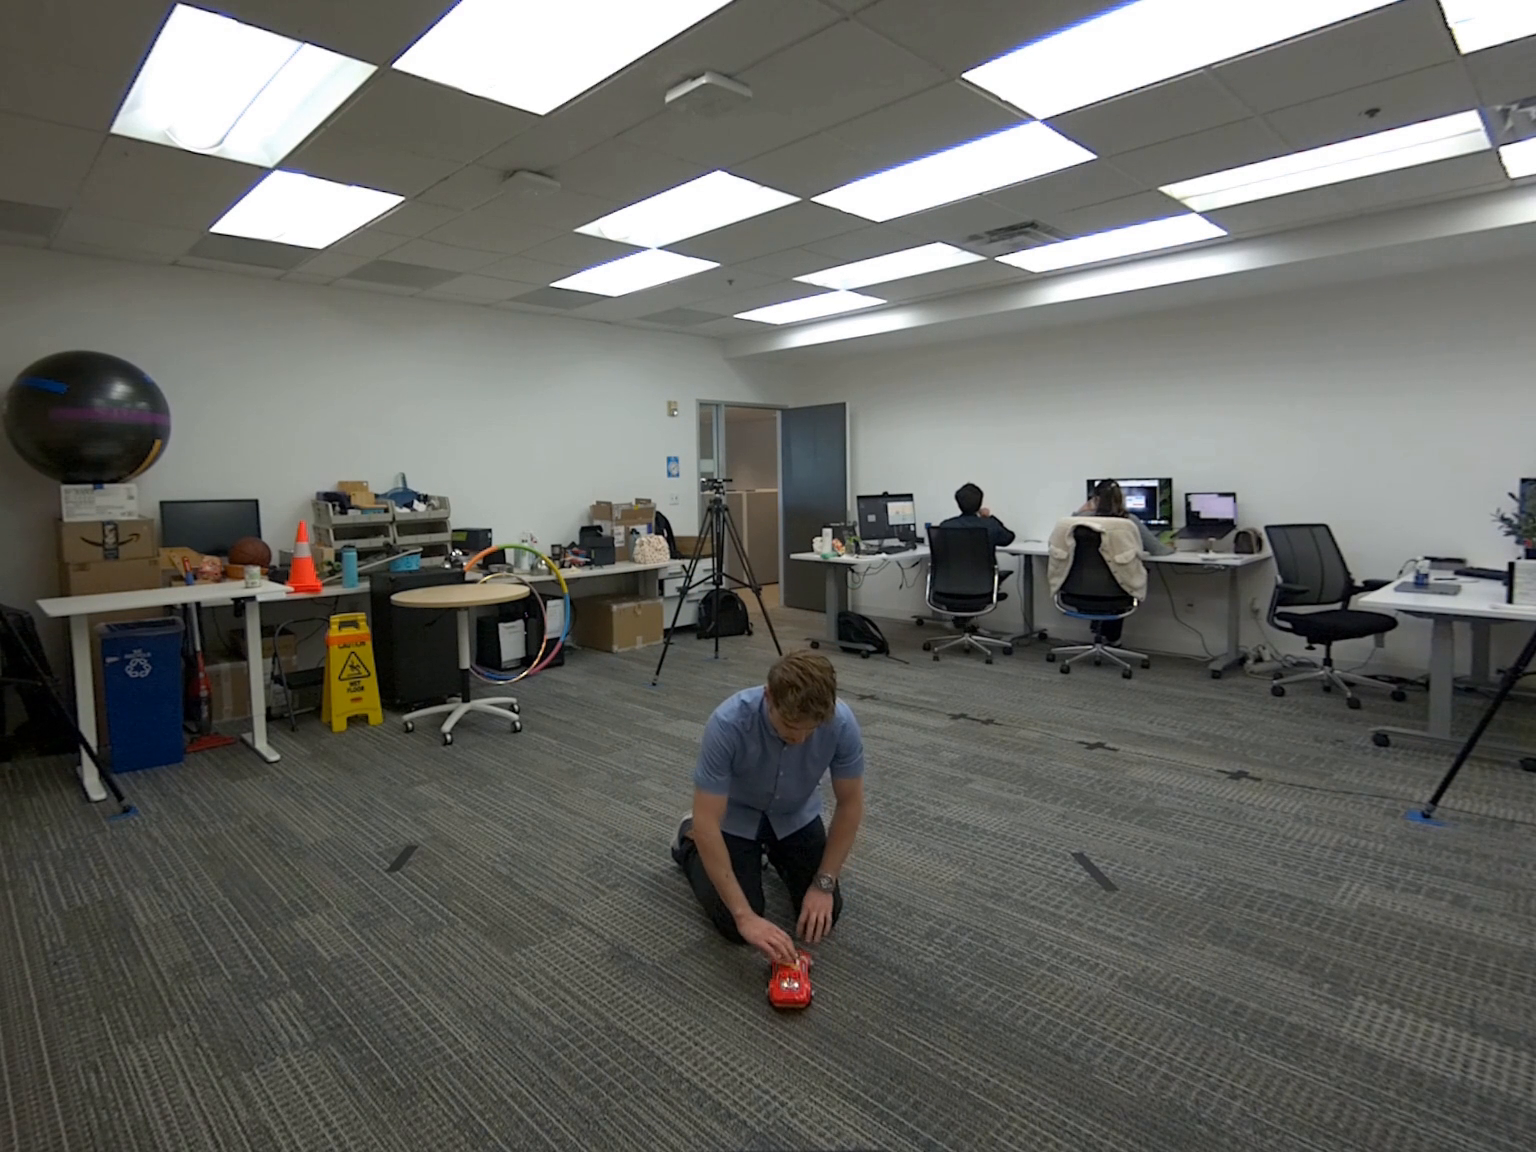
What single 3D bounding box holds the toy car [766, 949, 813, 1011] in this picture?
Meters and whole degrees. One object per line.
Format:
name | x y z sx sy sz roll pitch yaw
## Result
toy car | 0.053 1.109 2.319 0.131 0.084 0.251 -1 -6 4
